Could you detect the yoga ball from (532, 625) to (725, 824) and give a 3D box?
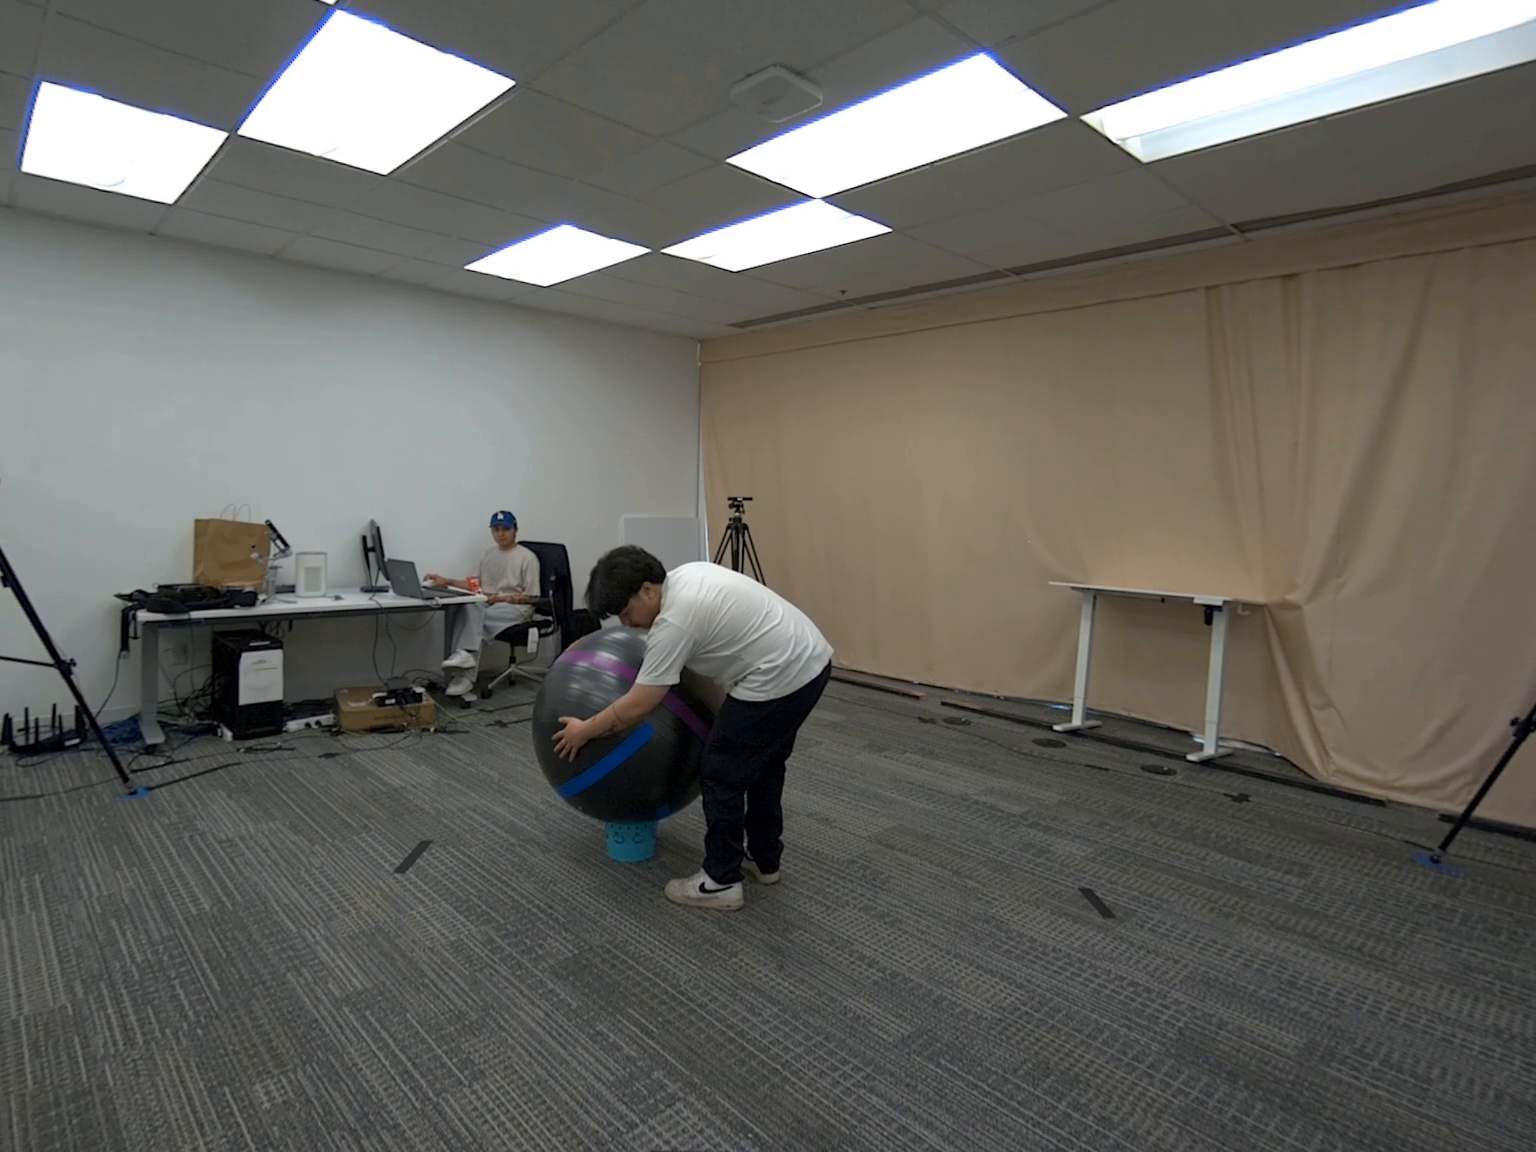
[{"bbox_3d":[-0.538,0.575,3.291,0.757,0.756,0.760,1,4,-1],"label":"yoga ball"}]
